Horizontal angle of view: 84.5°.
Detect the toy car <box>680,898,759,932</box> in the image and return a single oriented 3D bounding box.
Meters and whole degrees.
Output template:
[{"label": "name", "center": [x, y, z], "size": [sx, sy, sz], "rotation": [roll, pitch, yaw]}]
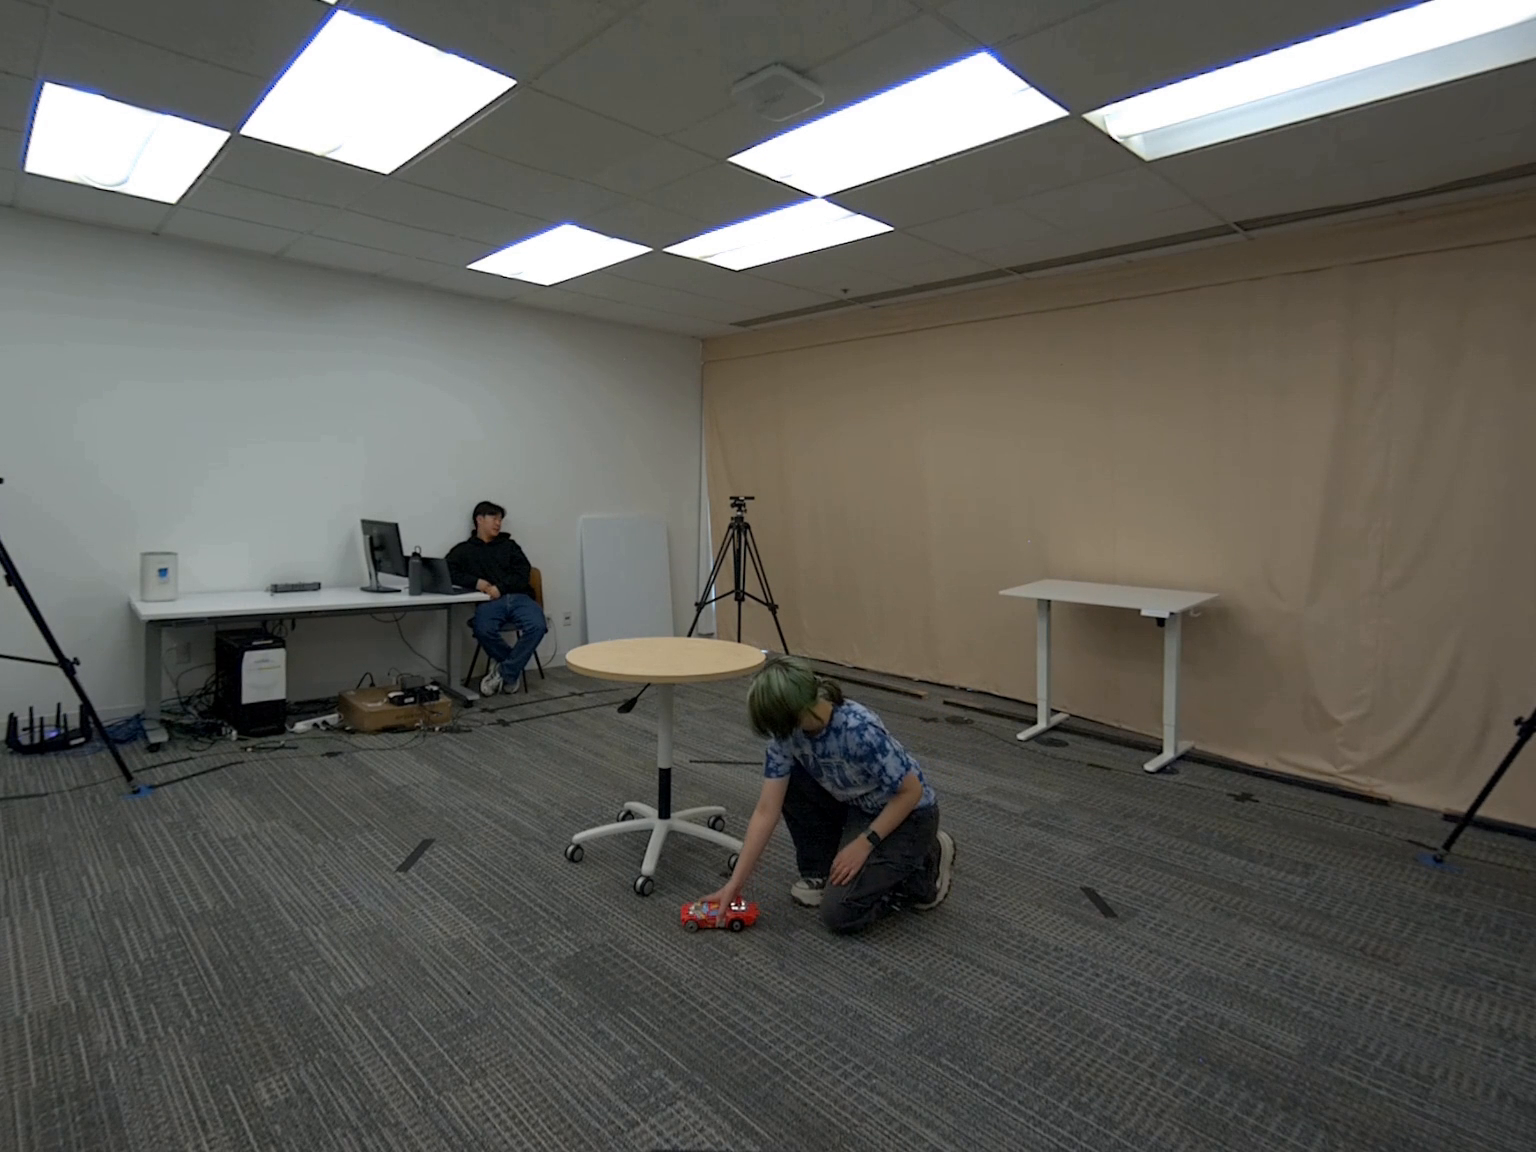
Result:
[{"label": "toy car", "center": [-0.158, 1.104, 2.742], "size": [0.254, 0.083, 0.131], "rotation": [-10, 5, -3]}]
